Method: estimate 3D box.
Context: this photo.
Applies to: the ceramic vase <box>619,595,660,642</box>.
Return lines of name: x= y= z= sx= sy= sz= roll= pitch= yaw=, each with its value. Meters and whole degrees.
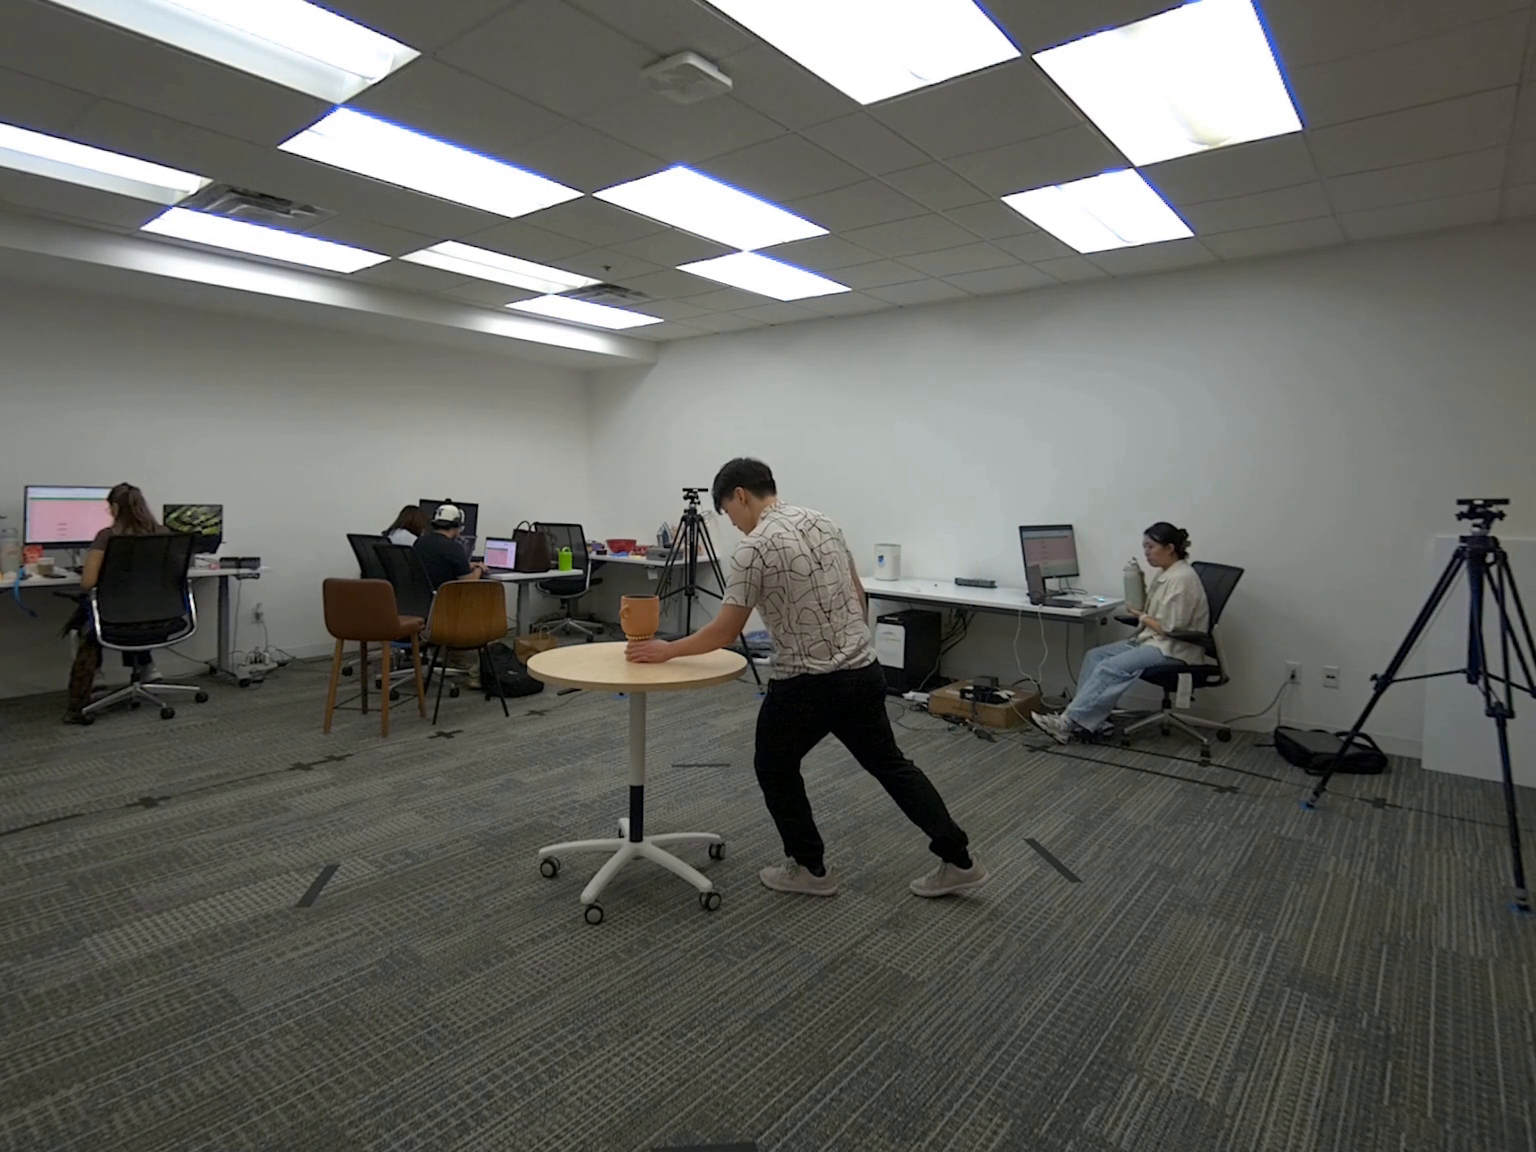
ceramic vase: x=-0.464 y=0.180 z=3.017 sx=0.156 sy=0.219 sz=0.137 roll=-1 pitch=4 yaw=-15
